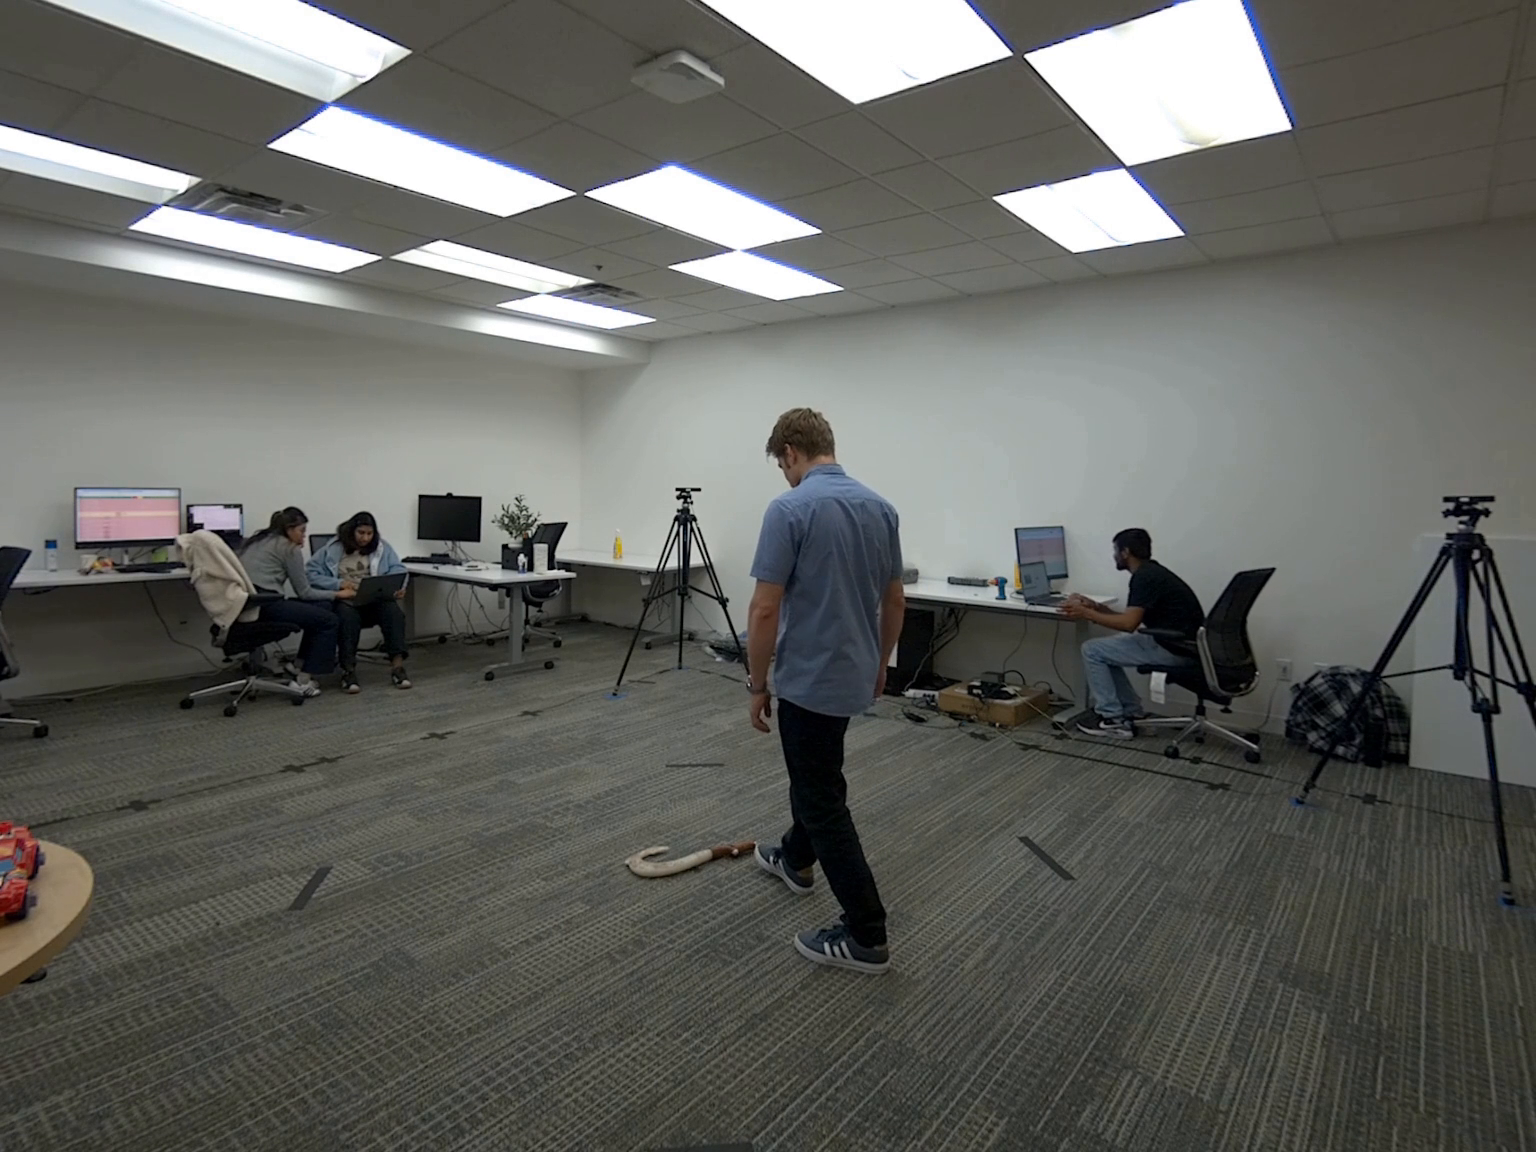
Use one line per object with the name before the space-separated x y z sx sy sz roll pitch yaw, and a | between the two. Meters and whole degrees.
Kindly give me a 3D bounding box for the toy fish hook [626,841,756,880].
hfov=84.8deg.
toy fish hook | -0.293 1.036 3.195 0.493 0.048 0.231 -2 8 -29
